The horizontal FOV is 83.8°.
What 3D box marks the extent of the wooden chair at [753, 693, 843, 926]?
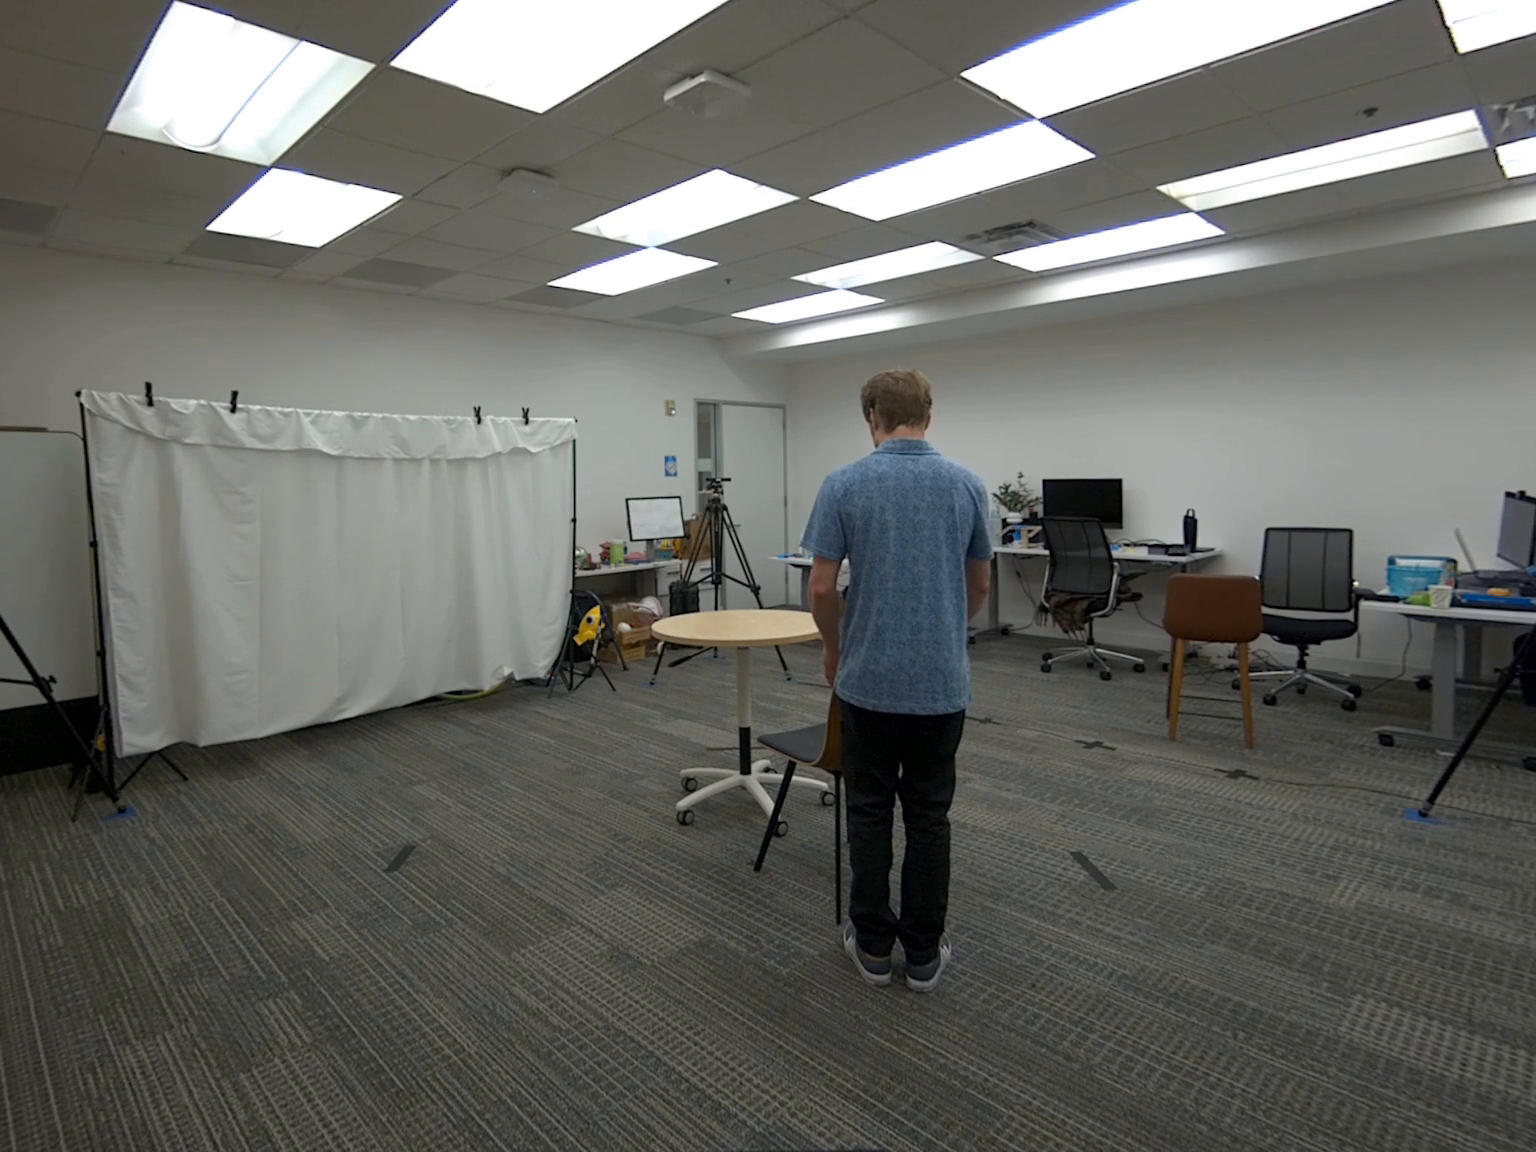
[{"bbox_3d":[0.258,0.628,2.945,0.466,0.871,0.540,-4,10,-35],"label":"wooden chair"}]
